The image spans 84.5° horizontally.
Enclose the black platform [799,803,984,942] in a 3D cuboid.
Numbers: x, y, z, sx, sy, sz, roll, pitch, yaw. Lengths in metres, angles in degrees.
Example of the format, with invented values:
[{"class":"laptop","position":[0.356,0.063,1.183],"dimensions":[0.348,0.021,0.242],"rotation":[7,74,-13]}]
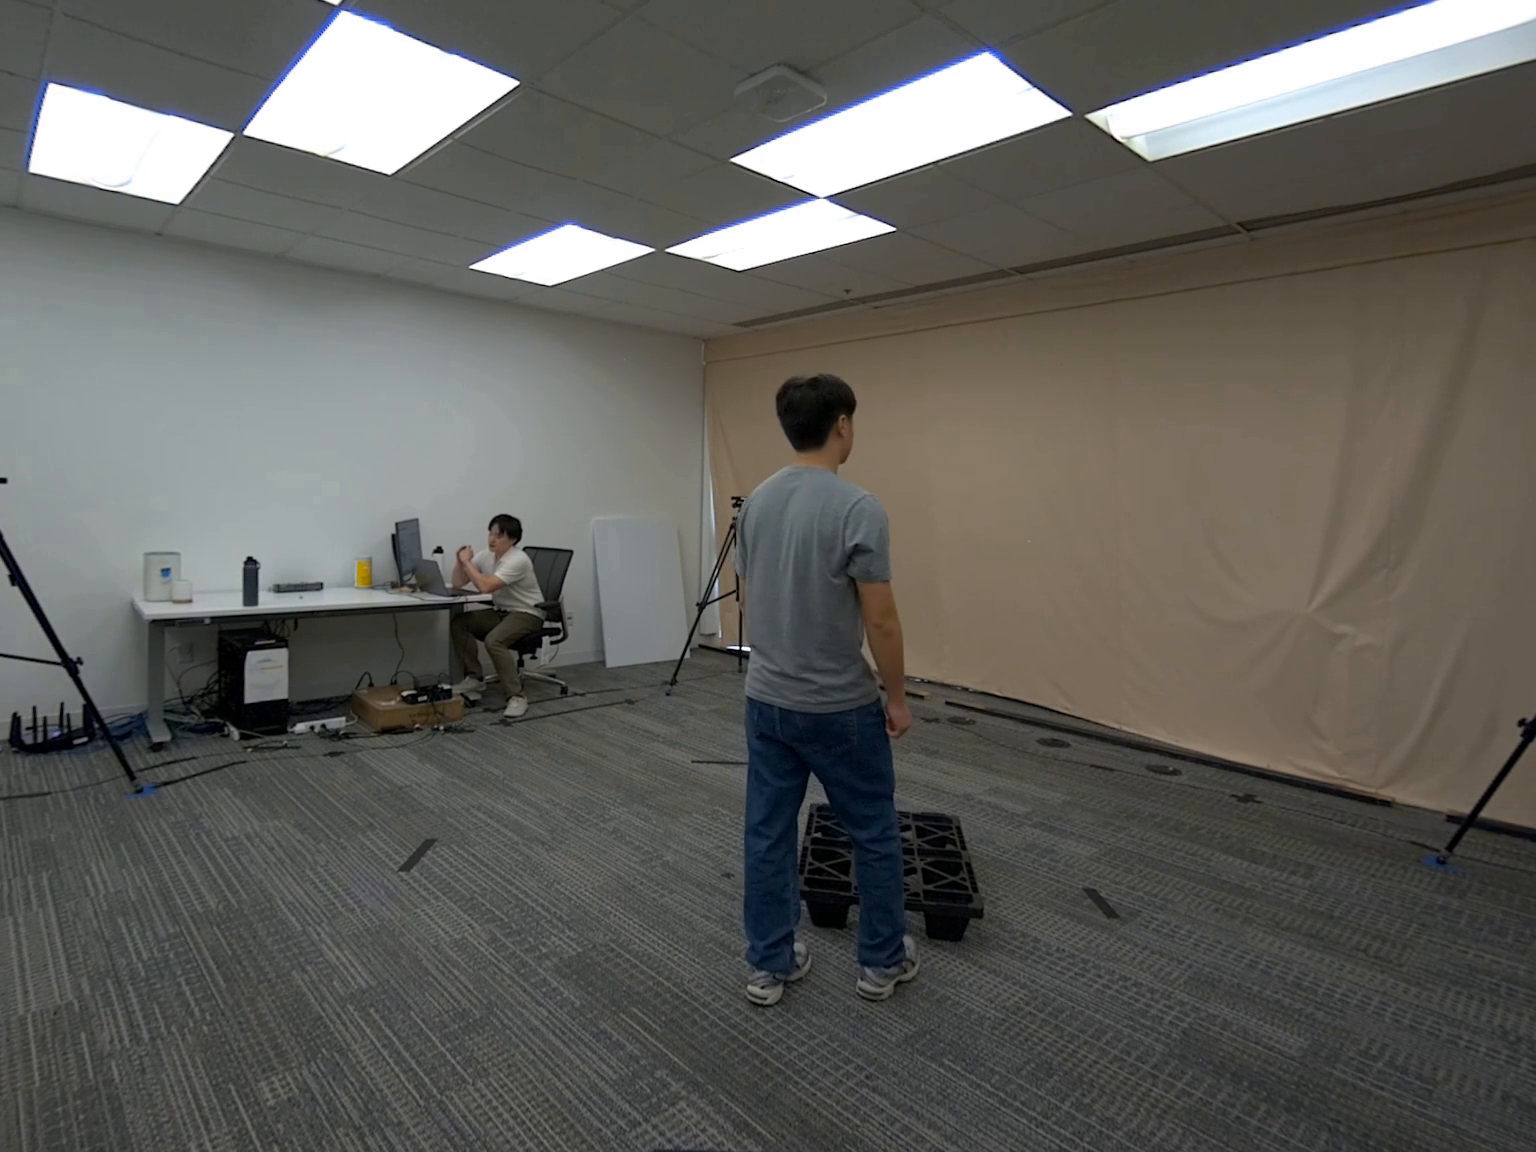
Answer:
[{"class":"black platform","position":[0.414,1.053,3.062],"dimensions":[0.609,0.143,0.802],"rotation":[2,5,8]}]
